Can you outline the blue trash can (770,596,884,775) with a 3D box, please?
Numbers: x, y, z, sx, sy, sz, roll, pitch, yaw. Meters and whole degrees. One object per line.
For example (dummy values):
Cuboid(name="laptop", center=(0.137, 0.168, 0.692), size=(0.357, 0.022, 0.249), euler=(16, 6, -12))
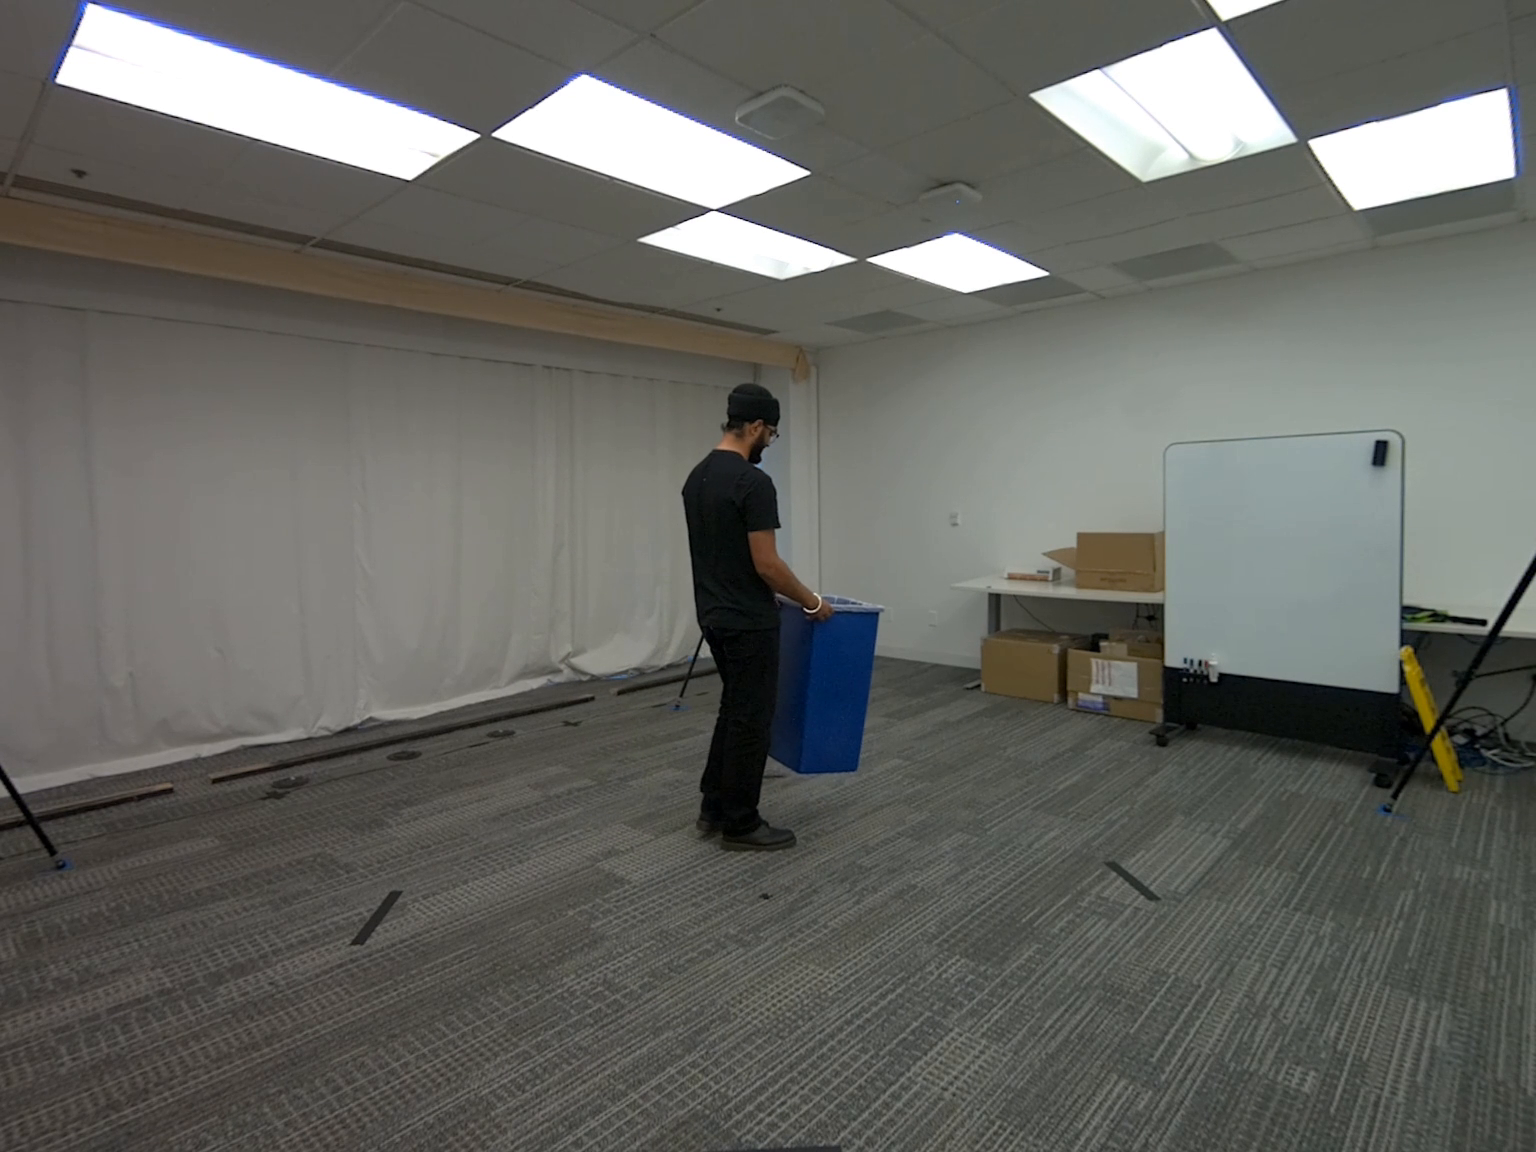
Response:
Cuboid(name="blue trash can", center=(0.220, 0.459, 3.646), size=(0.364, 0.713, 0.389), euler=(5, 3, -29))
